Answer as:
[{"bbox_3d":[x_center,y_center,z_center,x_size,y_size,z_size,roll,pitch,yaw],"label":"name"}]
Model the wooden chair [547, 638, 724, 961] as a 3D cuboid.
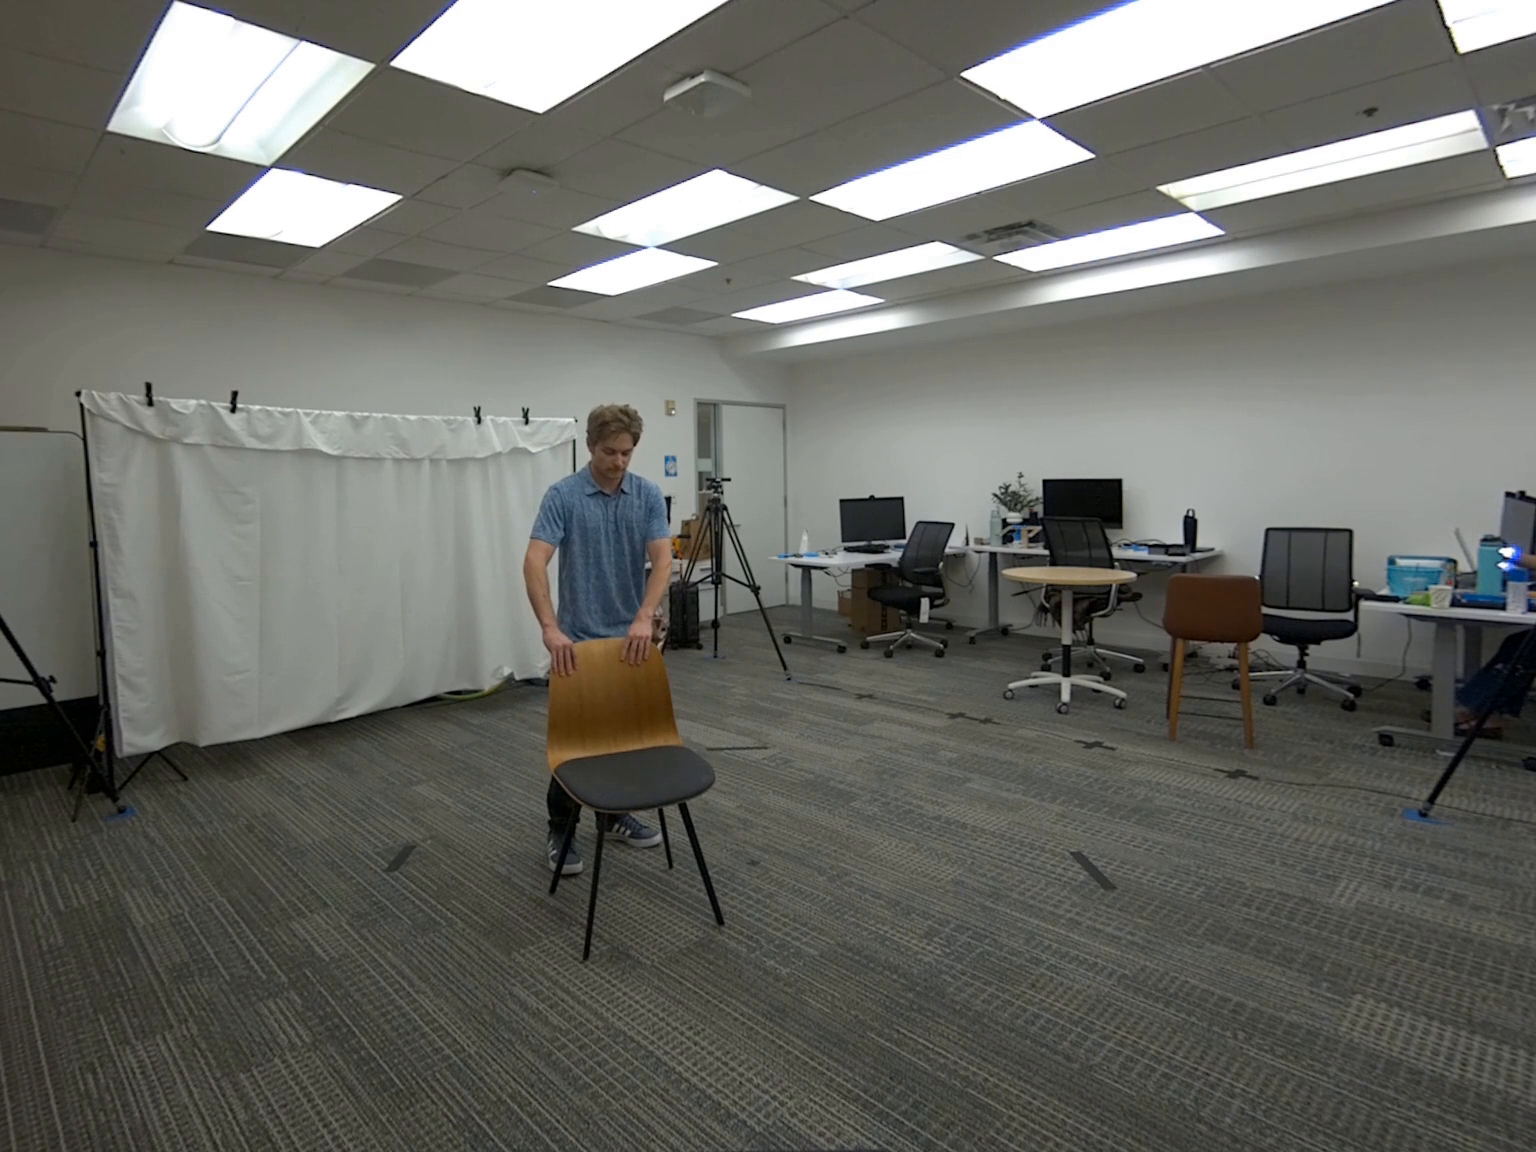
[{"bbox_3d":[-0.443,0.663,2.748,0.468,0.877,0.534,-3,1,-26],"label":"wooden chair"}]
